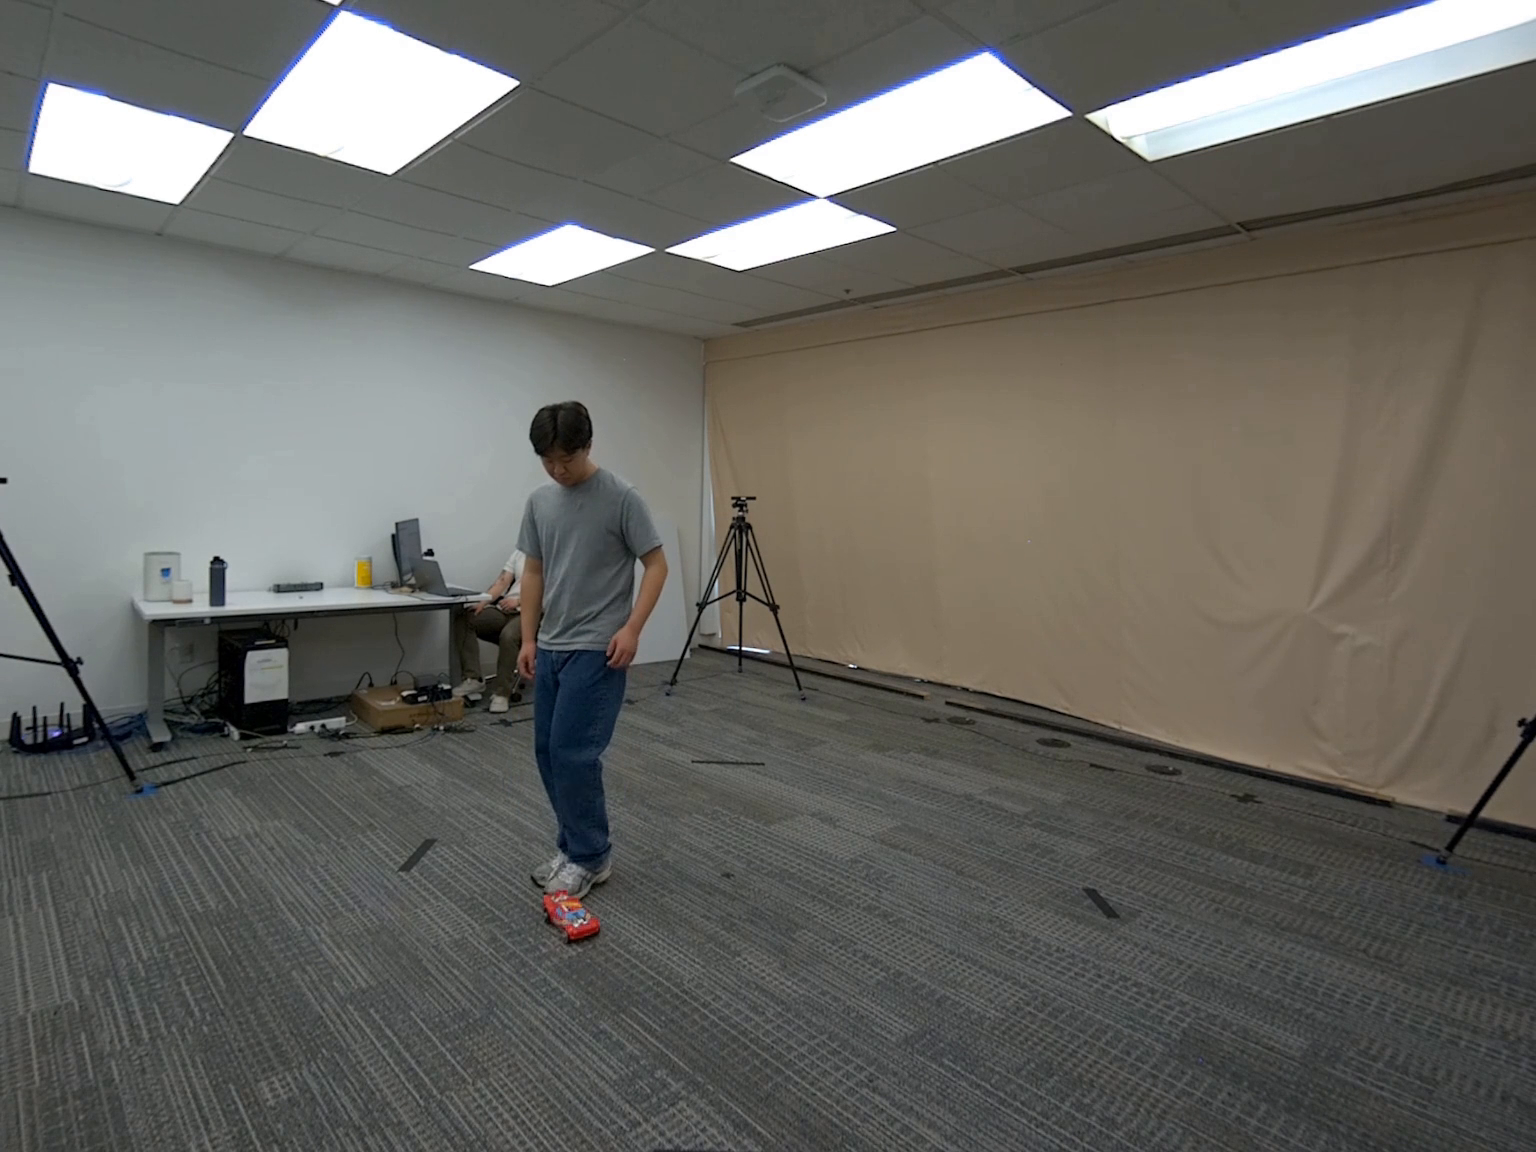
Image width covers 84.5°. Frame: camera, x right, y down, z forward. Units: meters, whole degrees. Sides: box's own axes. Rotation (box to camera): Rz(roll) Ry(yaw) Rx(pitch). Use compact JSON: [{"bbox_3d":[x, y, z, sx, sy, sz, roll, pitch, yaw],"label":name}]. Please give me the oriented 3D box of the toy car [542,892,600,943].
[{"bbox_3d":[-0.651,1.099,2.706,0.127,0.082,0.262,-4,19,-36],"label":"toy car"}]
